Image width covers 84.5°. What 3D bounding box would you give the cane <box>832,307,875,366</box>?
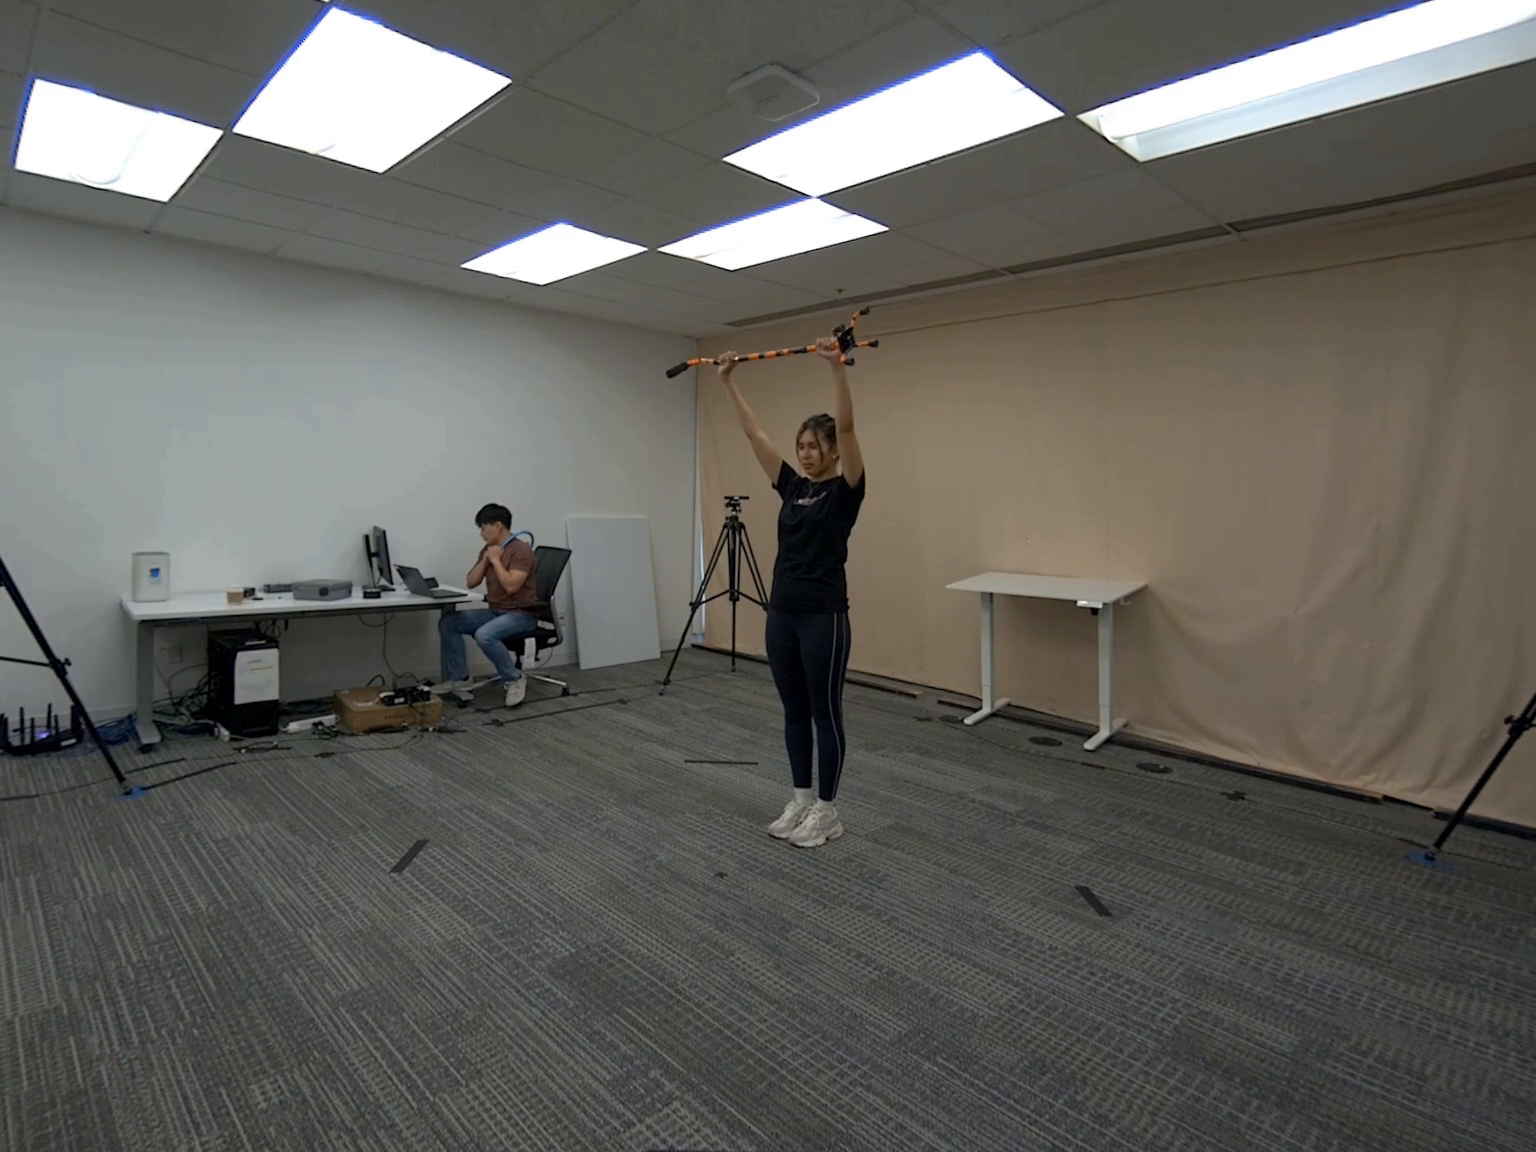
[{"bbox_3d":[-0.026,-0.875,3.280,0.931,0.148,0.206,5,34,41],"label":"cane"}]
